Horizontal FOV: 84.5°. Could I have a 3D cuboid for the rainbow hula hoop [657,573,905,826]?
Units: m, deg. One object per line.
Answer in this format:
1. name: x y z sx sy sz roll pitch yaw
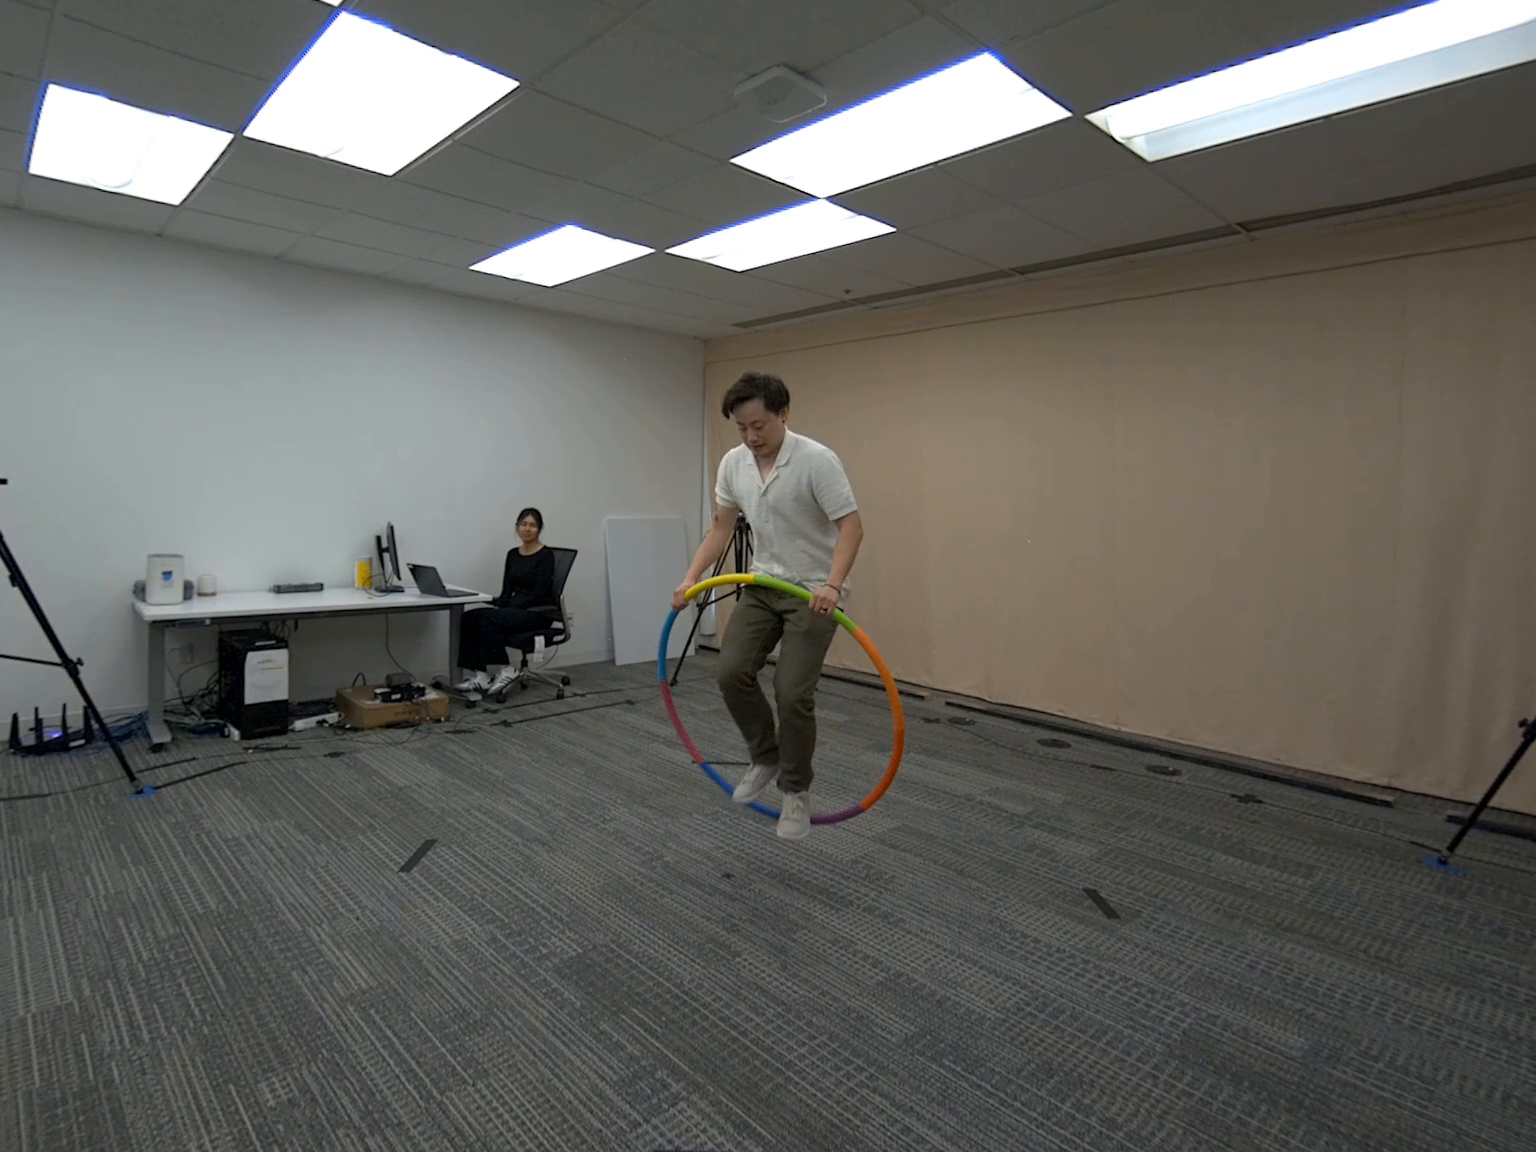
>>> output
1. rainbow hula hoop: 0.003 0.438 2.978 1.001 0.963 0.035 4 22 31
